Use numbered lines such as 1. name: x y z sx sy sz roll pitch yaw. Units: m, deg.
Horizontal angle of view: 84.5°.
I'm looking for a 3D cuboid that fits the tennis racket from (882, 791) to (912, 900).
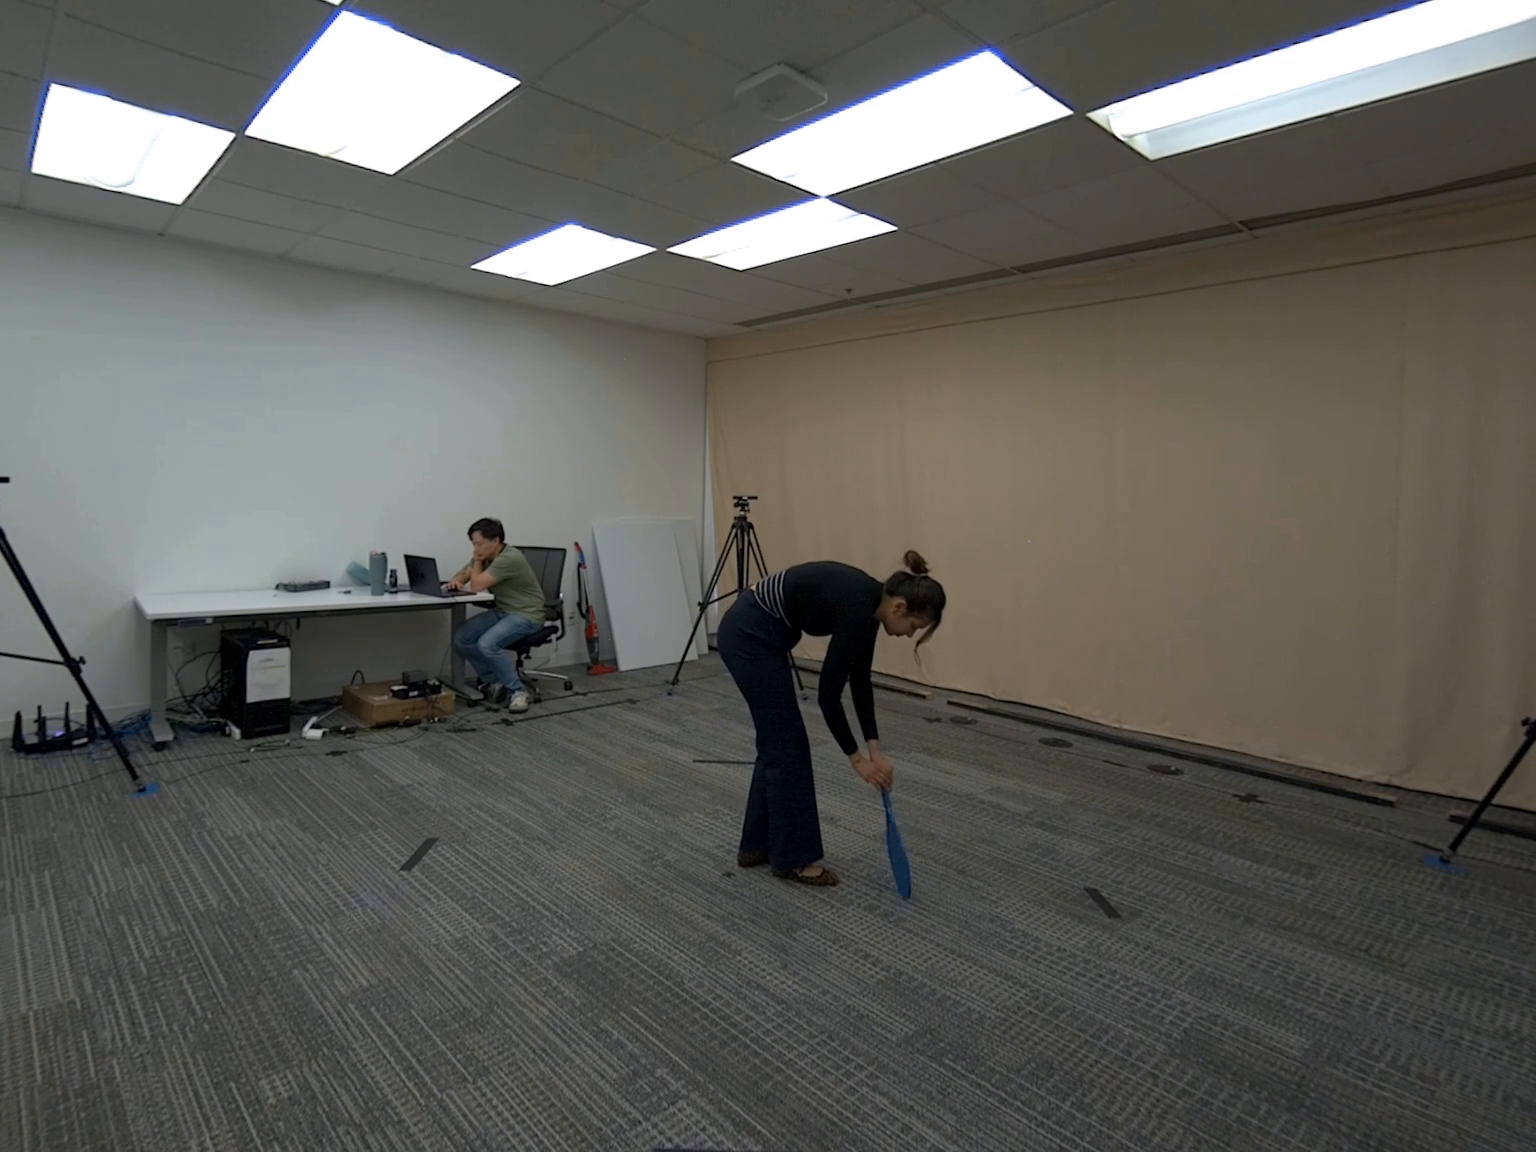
1. tennis racket: 0.425 0.925 3.004 0.031 0.441 0.212 -2 -26 -17
